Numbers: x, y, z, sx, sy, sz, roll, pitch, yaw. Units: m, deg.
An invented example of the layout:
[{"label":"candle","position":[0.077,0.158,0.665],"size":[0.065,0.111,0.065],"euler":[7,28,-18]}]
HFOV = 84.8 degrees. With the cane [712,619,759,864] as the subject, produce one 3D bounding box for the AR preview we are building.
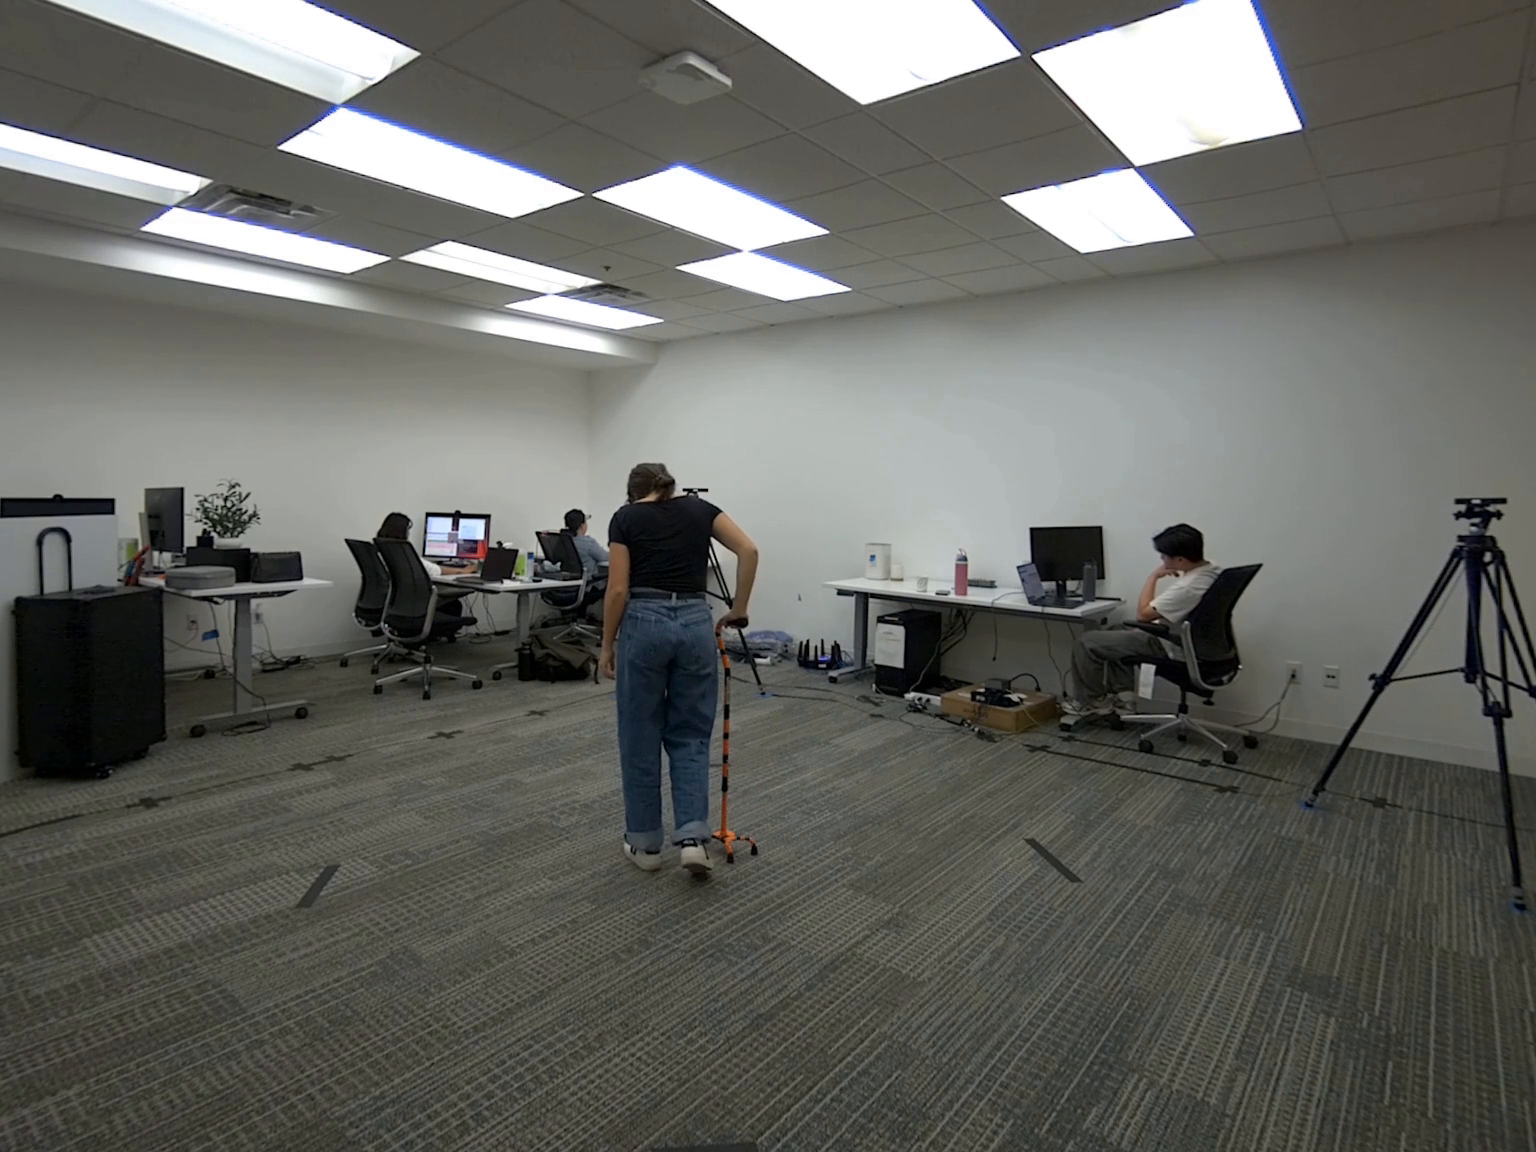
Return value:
[{"label":"cane","position":[-0.145,0.600,3.266],"size":[0.147,0.907,0.213],"euler":[-1,2,-42]}]
